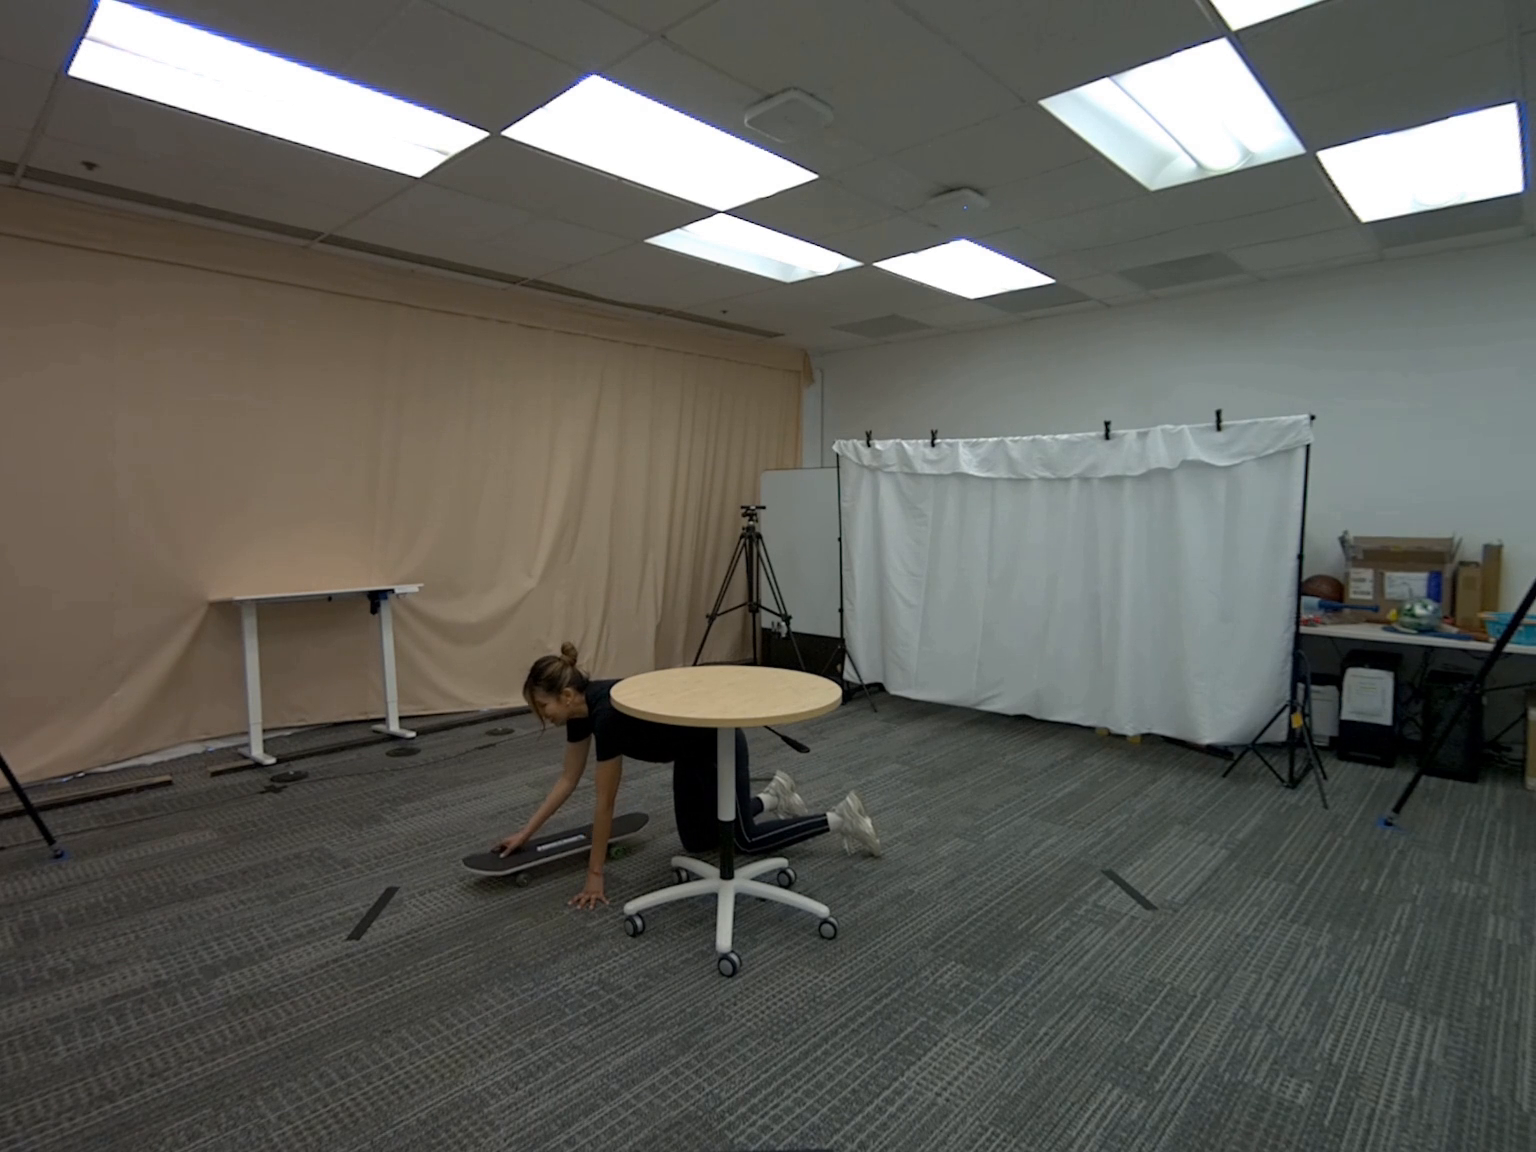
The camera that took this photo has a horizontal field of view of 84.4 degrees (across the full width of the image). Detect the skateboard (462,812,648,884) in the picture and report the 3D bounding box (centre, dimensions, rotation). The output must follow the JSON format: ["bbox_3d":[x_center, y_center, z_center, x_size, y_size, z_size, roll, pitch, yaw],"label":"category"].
[{"bbox_3d":[-0.803,1.071,3.283,0.762,0.110,0.200,-4,6,-39],"label":"skateboard"}]
